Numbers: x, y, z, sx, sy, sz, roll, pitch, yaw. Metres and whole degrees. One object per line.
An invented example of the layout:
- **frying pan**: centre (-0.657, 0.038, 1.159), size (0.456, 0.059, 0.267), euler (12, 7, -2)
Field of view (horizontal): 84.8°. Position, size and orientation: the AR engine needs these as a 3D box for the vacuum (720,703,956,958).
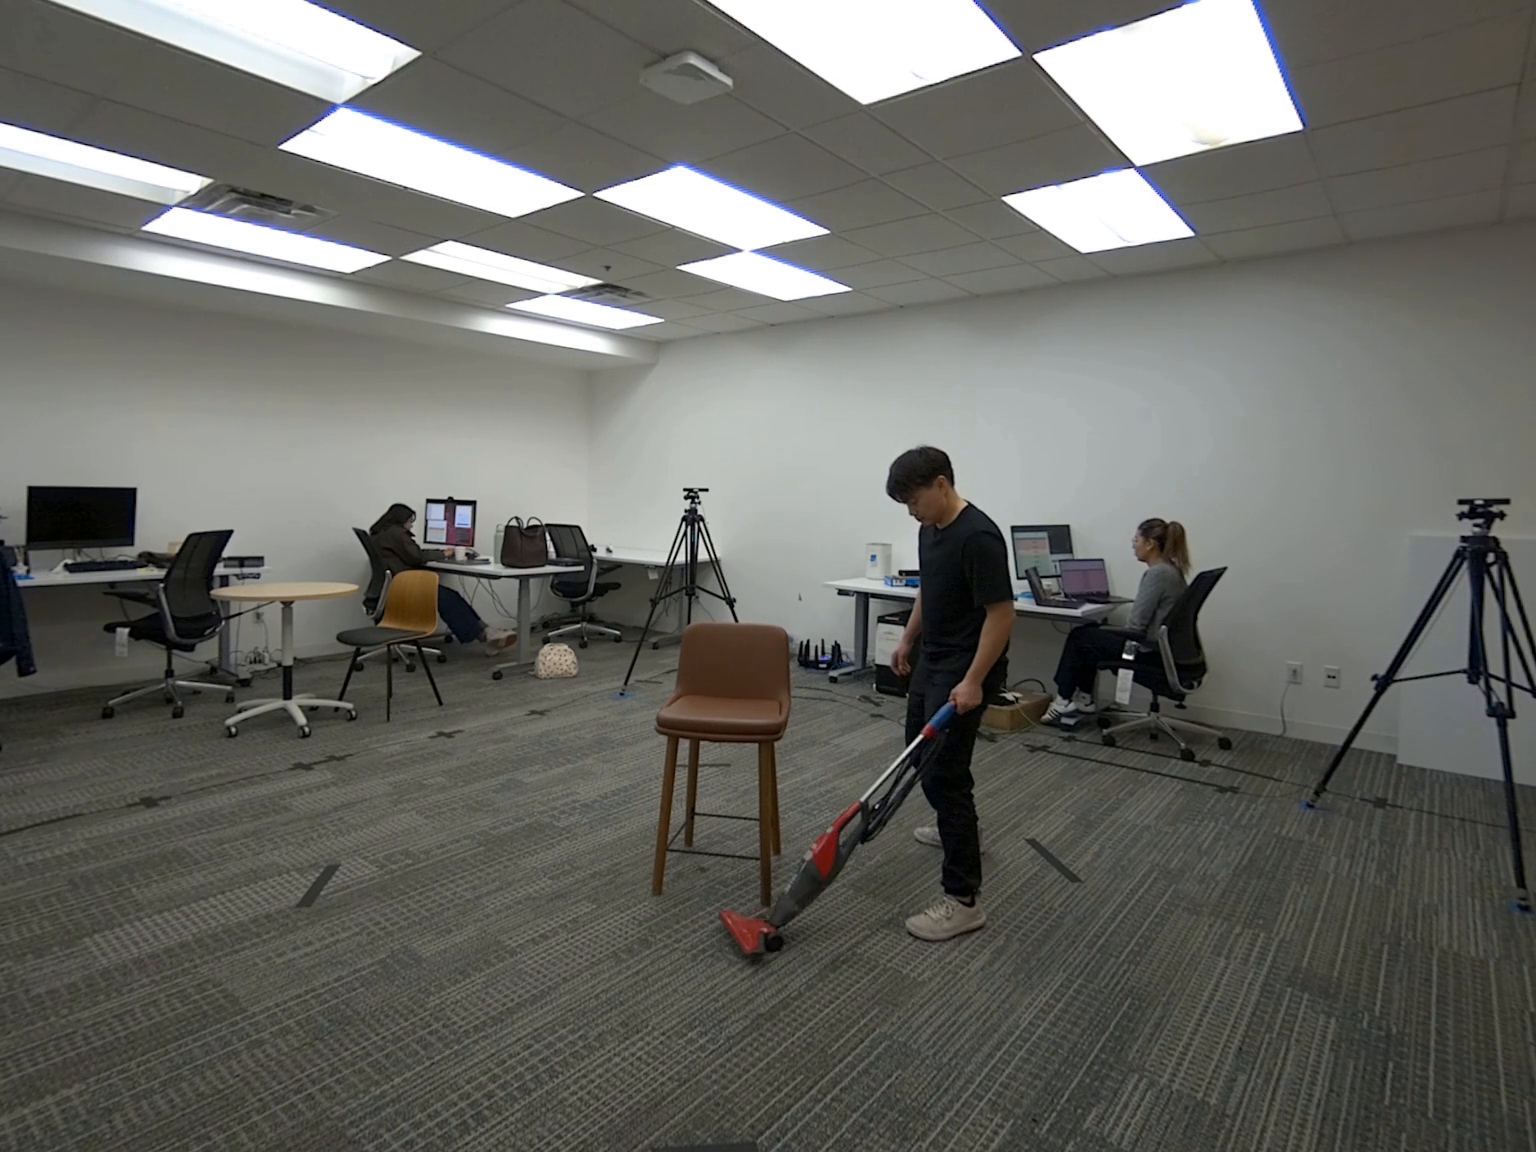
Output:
- **vacuum**: centre (0.327, 0.754, 2.712), size (1.047, 0.142, 0.257), euler (-43, 13, -13)
